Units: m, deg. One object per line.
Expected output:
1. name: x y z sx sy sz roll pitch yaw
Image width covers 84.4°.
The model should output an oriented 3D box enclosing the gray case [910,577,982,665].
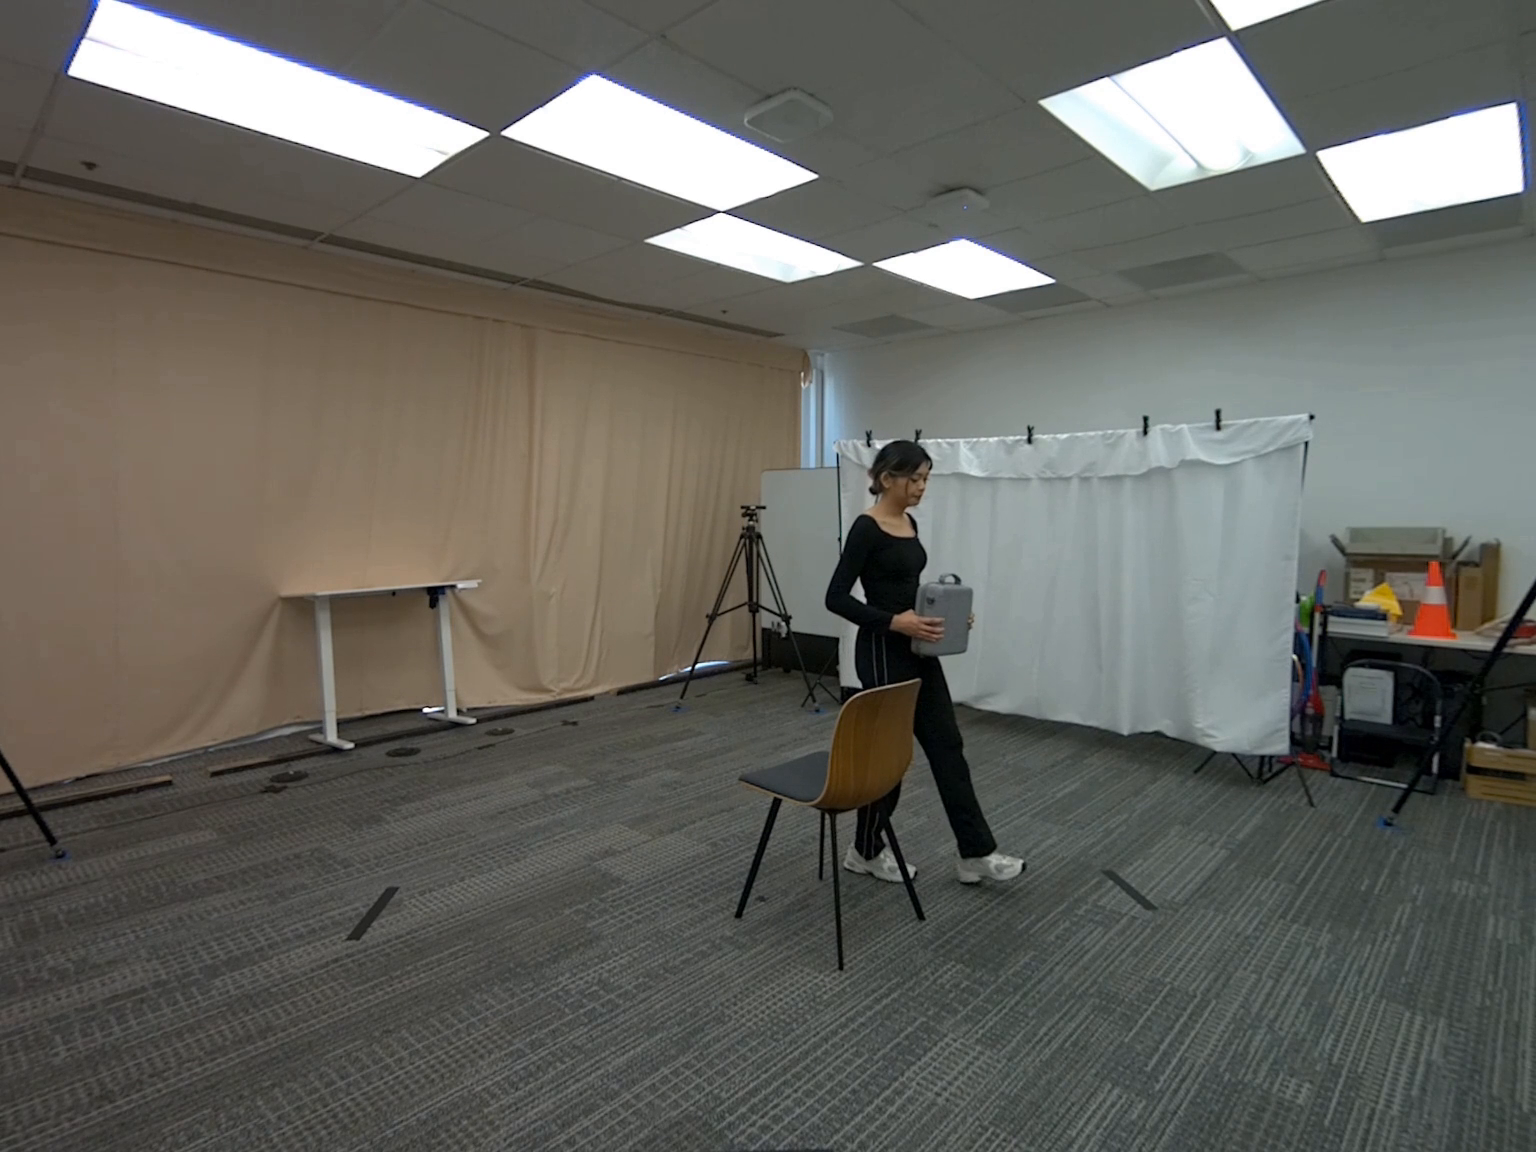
1. gray case: 0.623 0.147 2.981 0.248 0.260 0.108 2 7 -45
